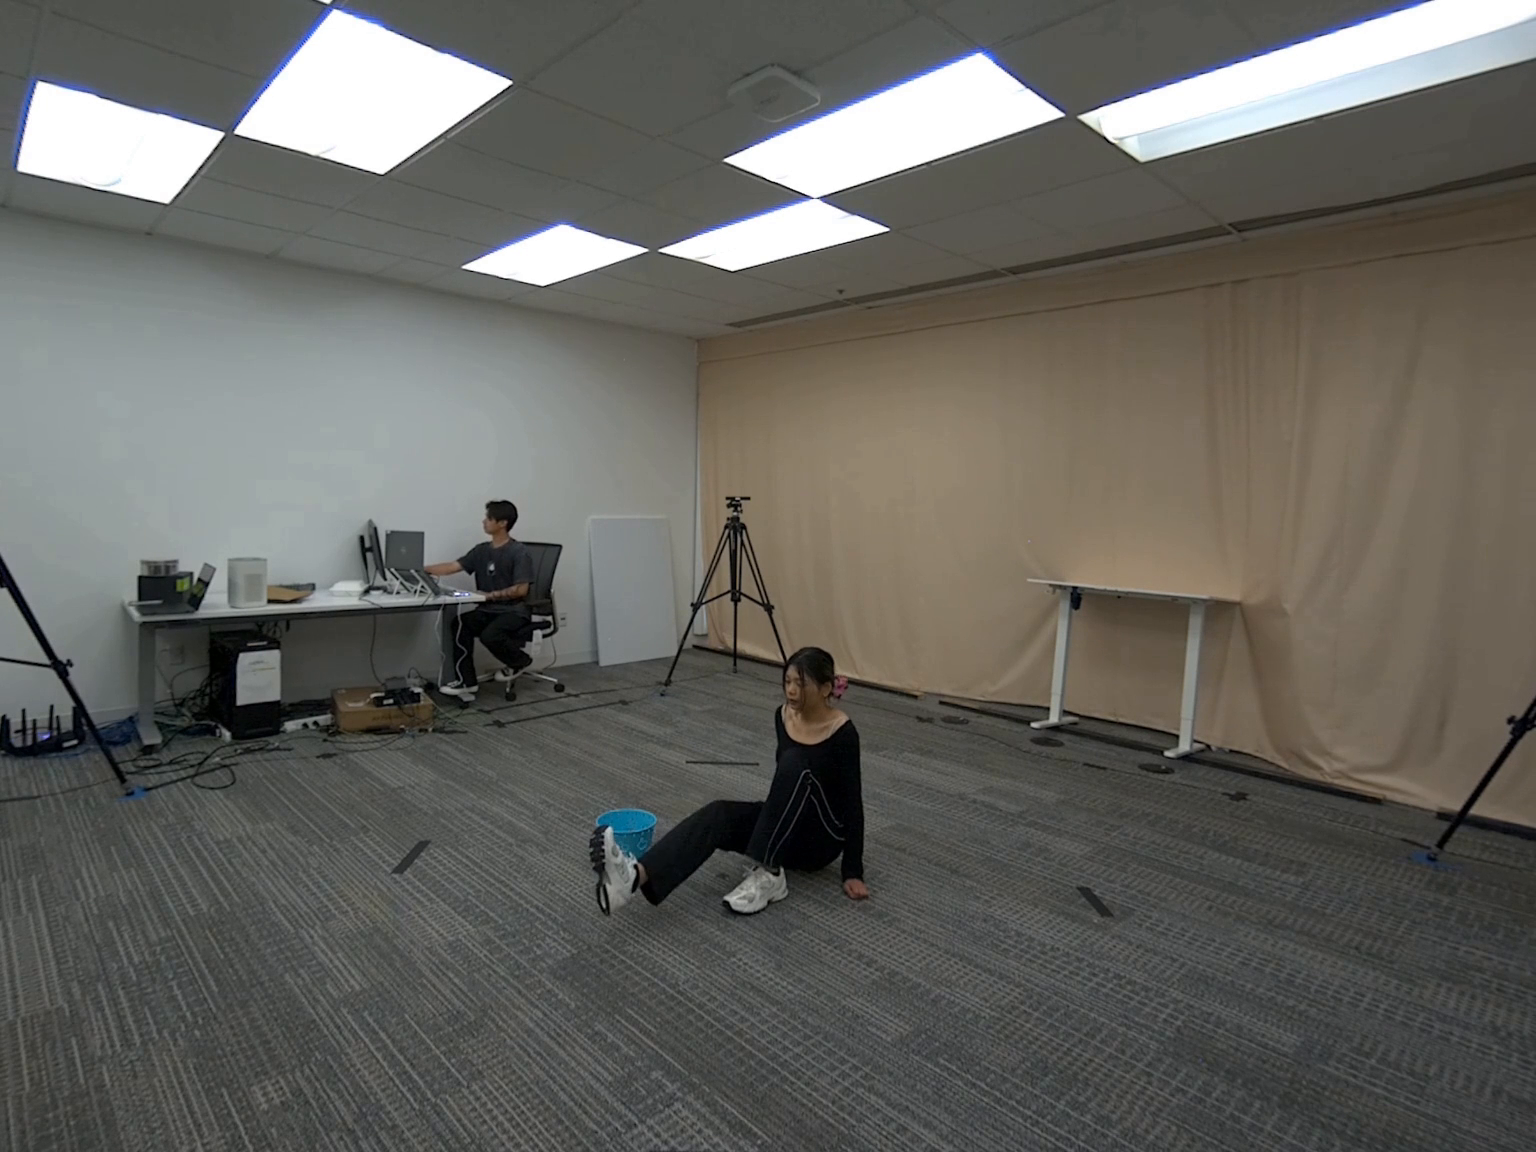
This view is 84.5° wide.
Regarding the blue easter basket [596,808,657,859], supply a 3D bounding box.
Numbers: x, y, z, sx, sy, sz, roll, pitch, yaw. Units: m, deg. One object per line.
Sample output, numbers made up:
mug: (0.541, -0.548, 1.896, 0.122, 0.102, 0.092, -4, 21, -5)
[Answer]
blue easter basket: (-0.537, 0.994, 3.212, 0.243, 0.155, 0.244, 1, 4, -1)
